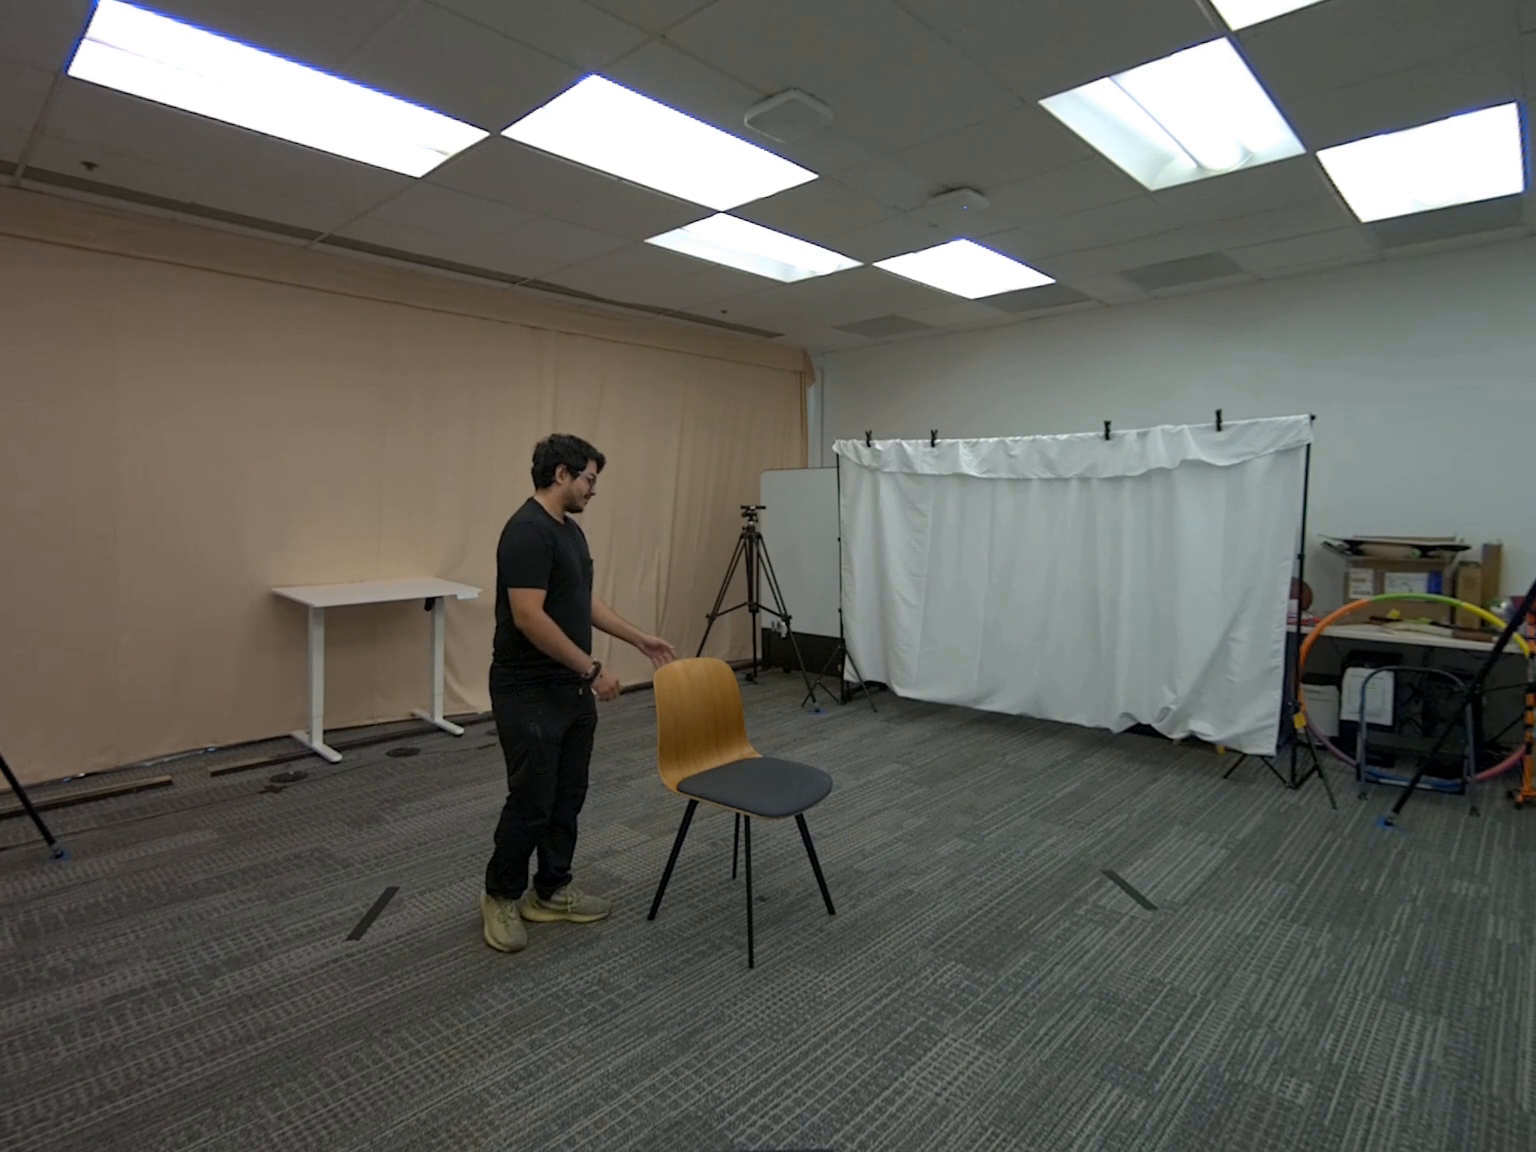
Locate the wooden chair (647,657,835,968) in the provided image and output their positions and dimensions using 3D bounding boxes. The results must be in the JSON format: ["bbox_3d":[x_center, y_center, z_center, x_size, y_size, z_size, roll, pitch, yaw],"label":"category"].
[{"bbox_3d":[-0.077,0.733,2.812,0.539,0.877,0.463,-3,0,40],"label":"wooden chair"}]
